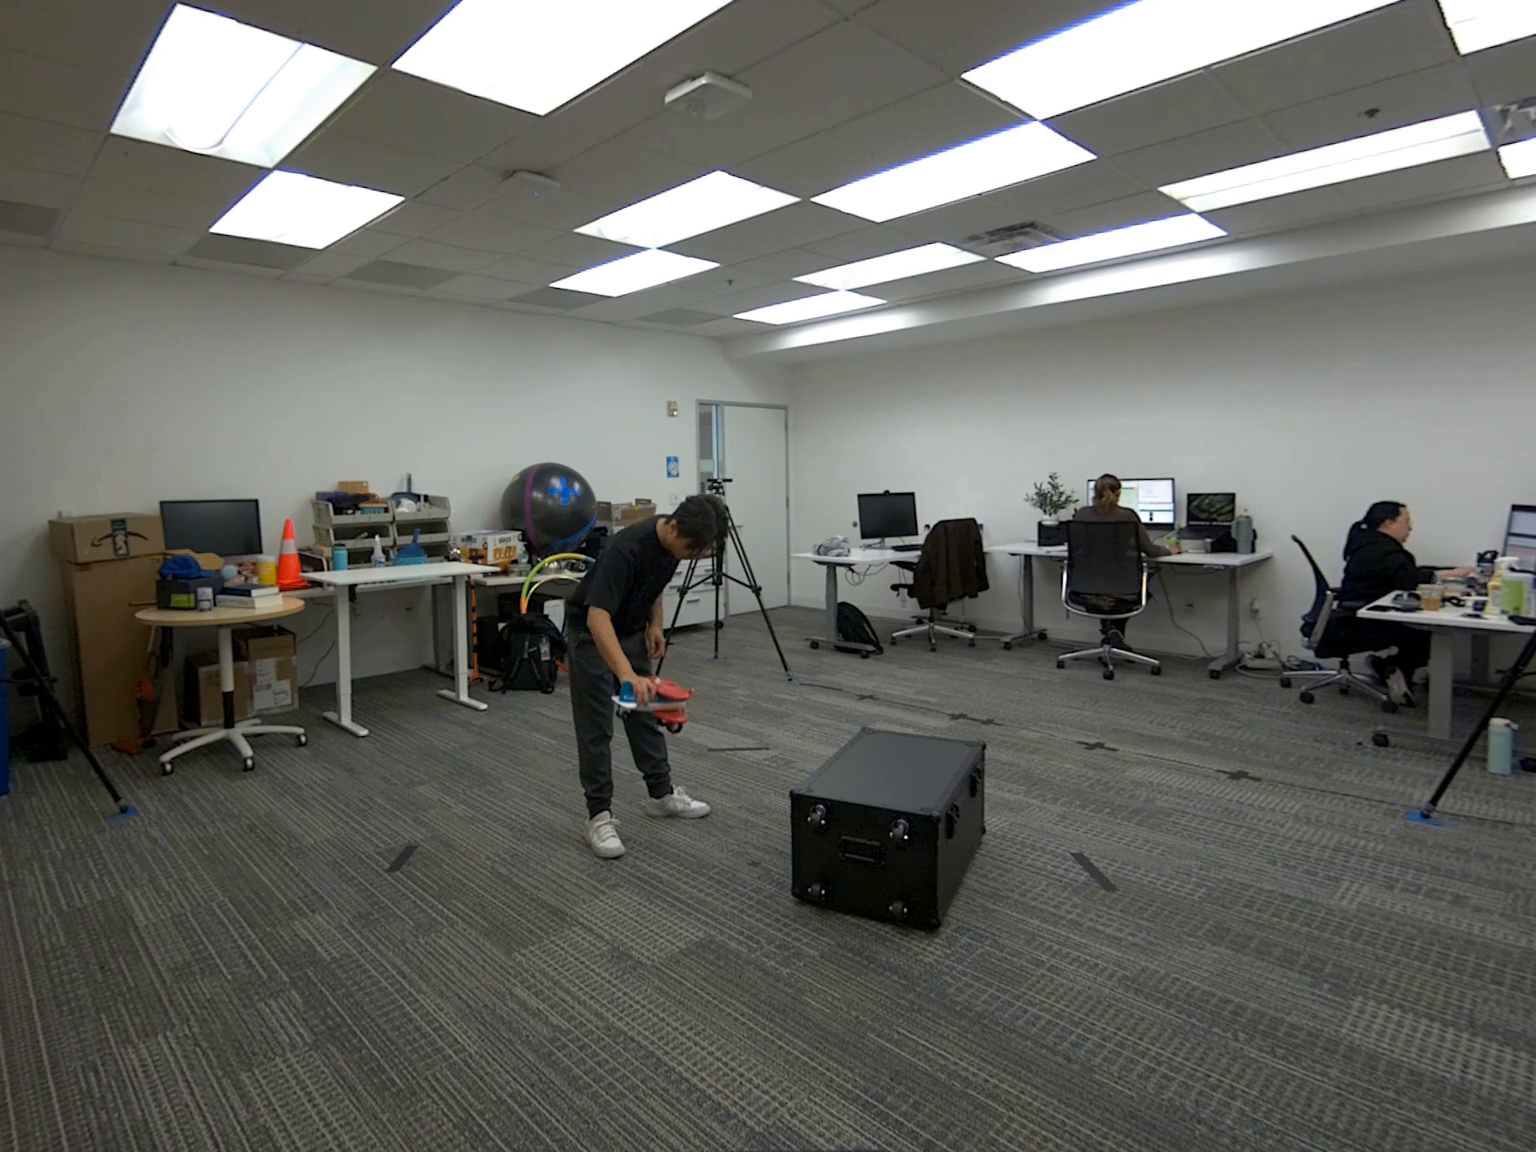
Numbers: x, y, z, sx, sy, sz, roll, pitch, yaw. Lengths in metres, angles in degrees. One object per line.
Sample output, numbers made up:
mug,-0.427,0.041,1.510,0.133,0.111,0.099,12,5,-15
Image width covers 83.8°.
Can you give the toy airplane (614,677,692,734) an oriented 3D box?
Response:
toy airplane,-0.378,0.428,2.863,0.258,0.157,0.251,16,-4,26
